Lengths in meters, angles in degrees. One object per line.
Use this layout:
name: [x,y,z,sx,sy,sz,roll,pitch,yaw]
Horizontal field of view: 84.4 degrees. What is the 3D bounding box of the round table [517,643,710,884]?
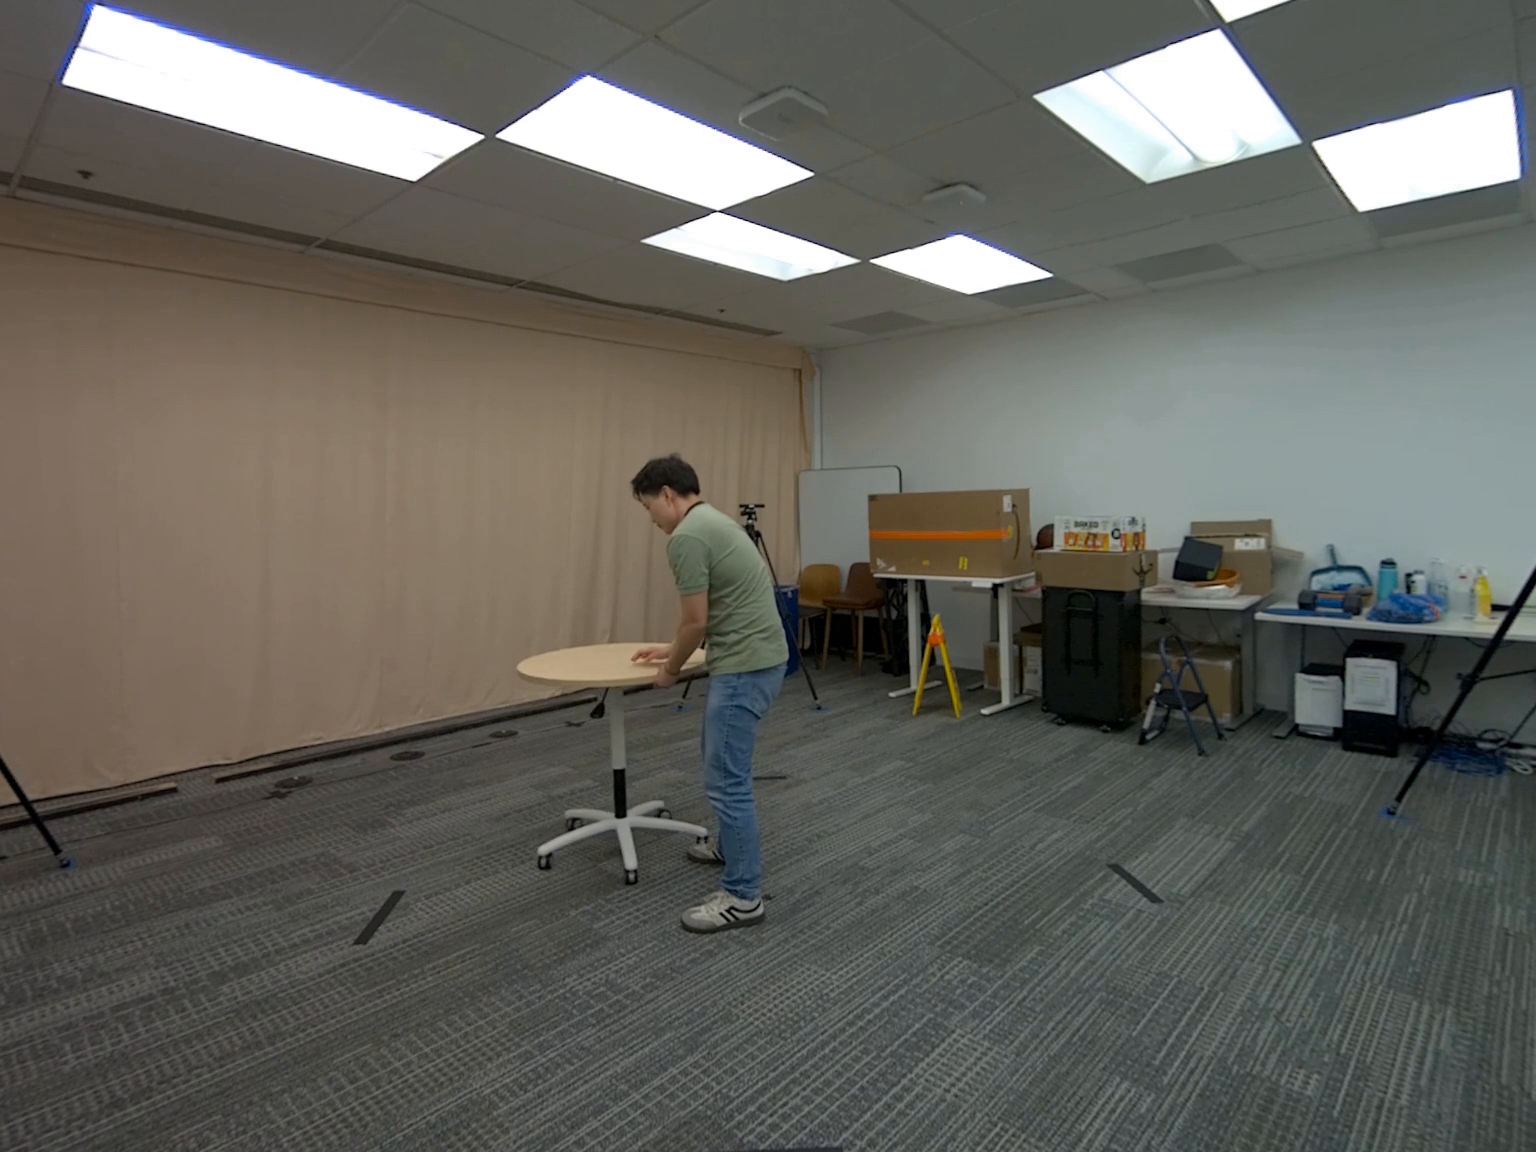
round table: [-0.594,0.729,3.398,0.763,0.792,0.767,-2,4,-2]
